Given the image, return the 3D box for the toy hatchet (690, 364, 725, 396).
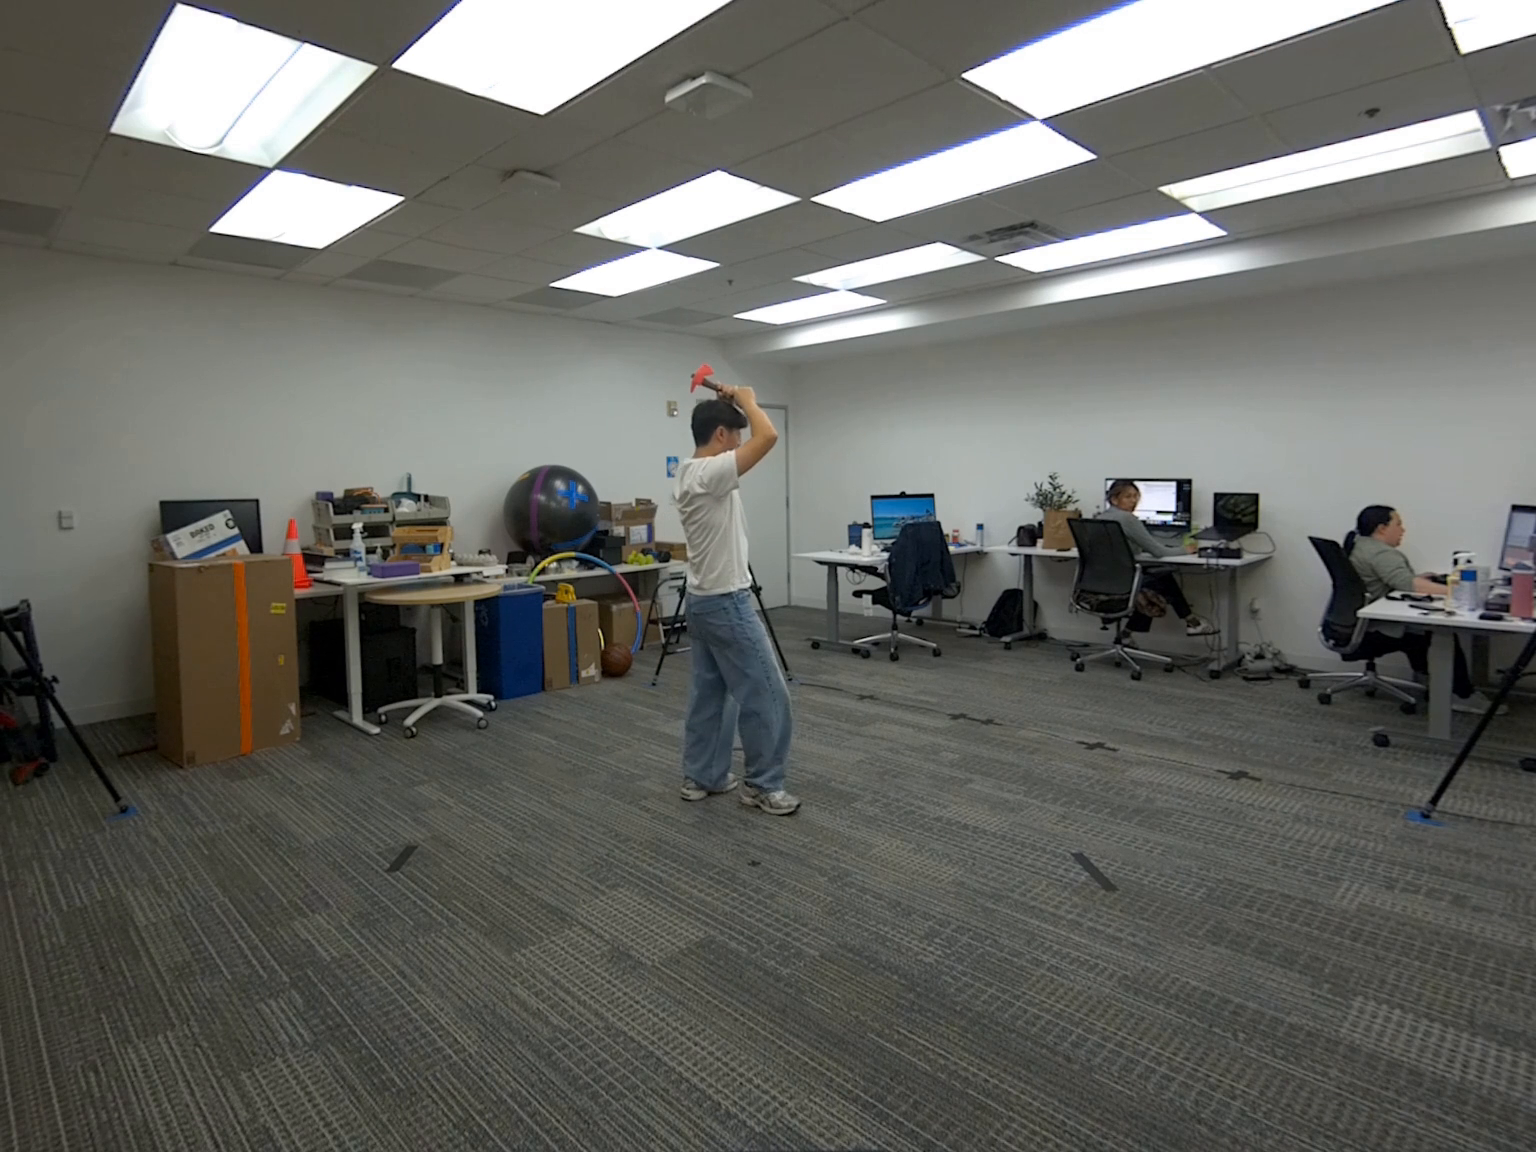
[{"bbox_3d":[-0.191,-0.833,3.649,0.270,0.130,0.030,6,7,-1],"label":"toy hatchet"}]
